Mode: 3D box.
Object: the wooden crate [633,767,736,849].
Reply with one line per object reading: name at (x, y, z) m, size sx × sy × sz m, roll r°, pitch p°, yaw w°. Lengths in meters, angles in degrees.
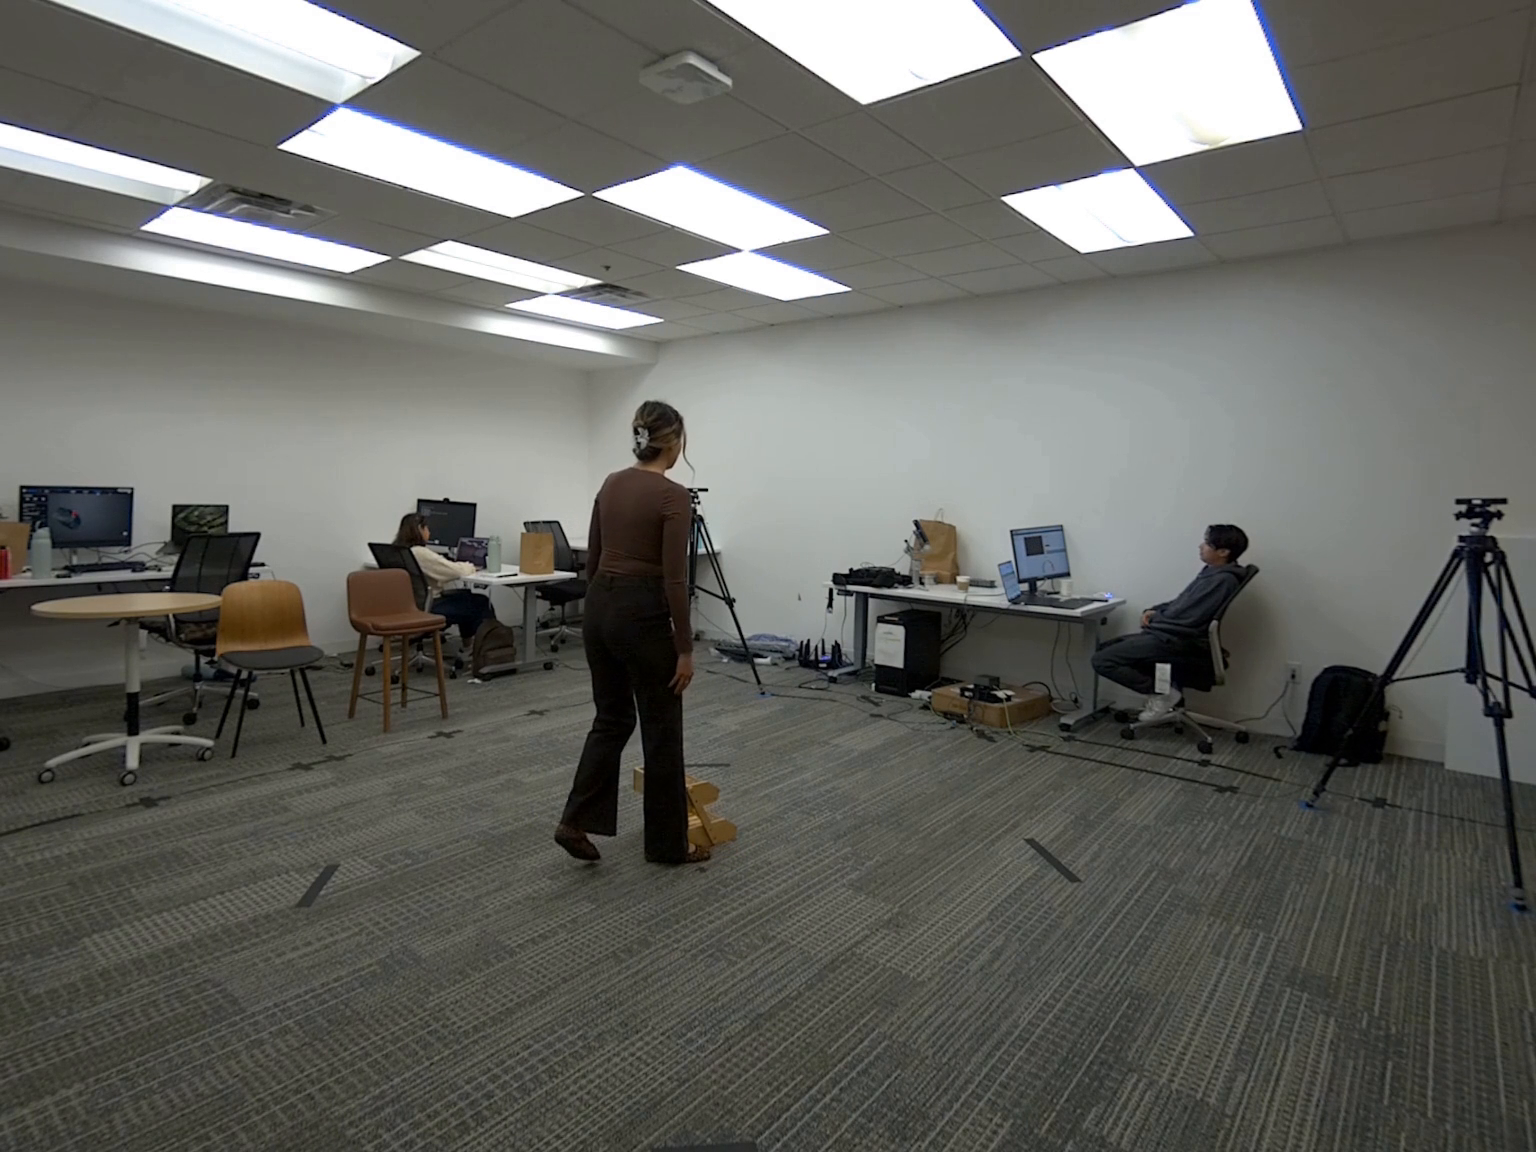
wooden crate at (-0.339, 0.904, 3.418) m, size 0.293 × 0.272 × 0.335 m, roll -3°, pitch 6°, yaw -41°
